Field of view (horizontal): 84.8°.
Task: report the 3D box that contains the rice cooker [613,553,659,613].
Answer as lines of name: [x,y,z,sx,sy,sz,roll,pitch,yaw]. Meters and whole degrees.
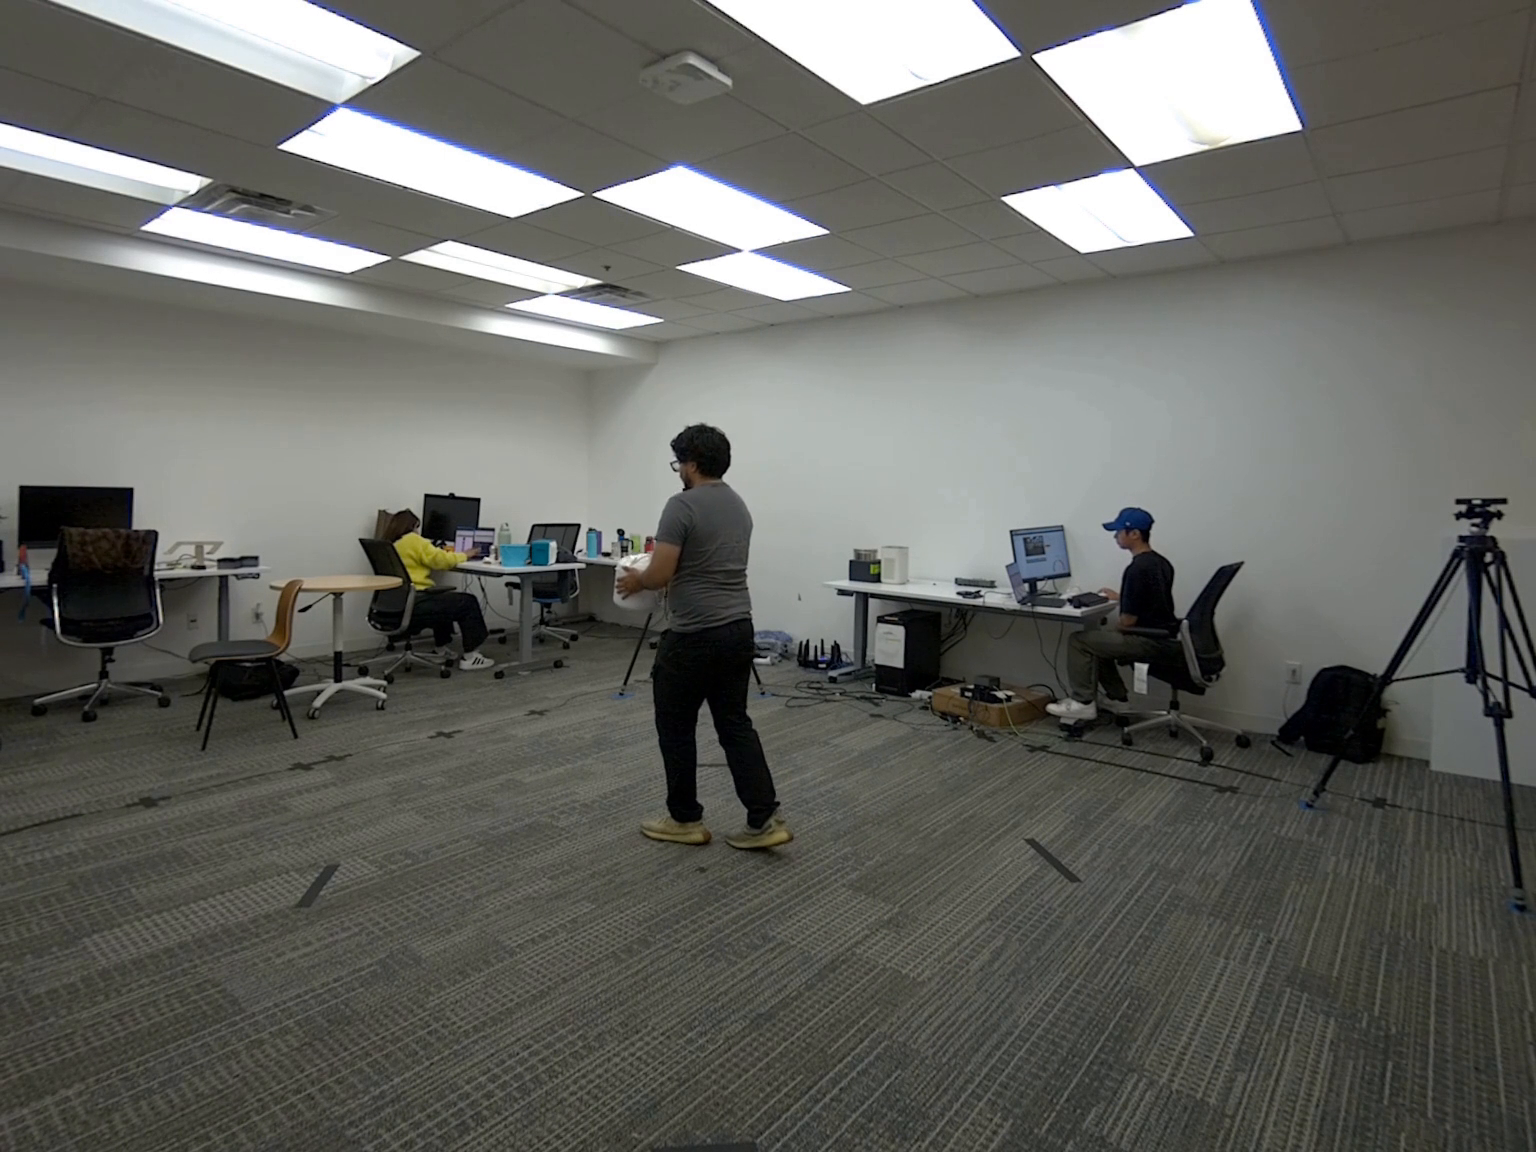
rice cooker: [-0.538,0.016,3.556,0.224,0.230,0.216,15,15,28]
